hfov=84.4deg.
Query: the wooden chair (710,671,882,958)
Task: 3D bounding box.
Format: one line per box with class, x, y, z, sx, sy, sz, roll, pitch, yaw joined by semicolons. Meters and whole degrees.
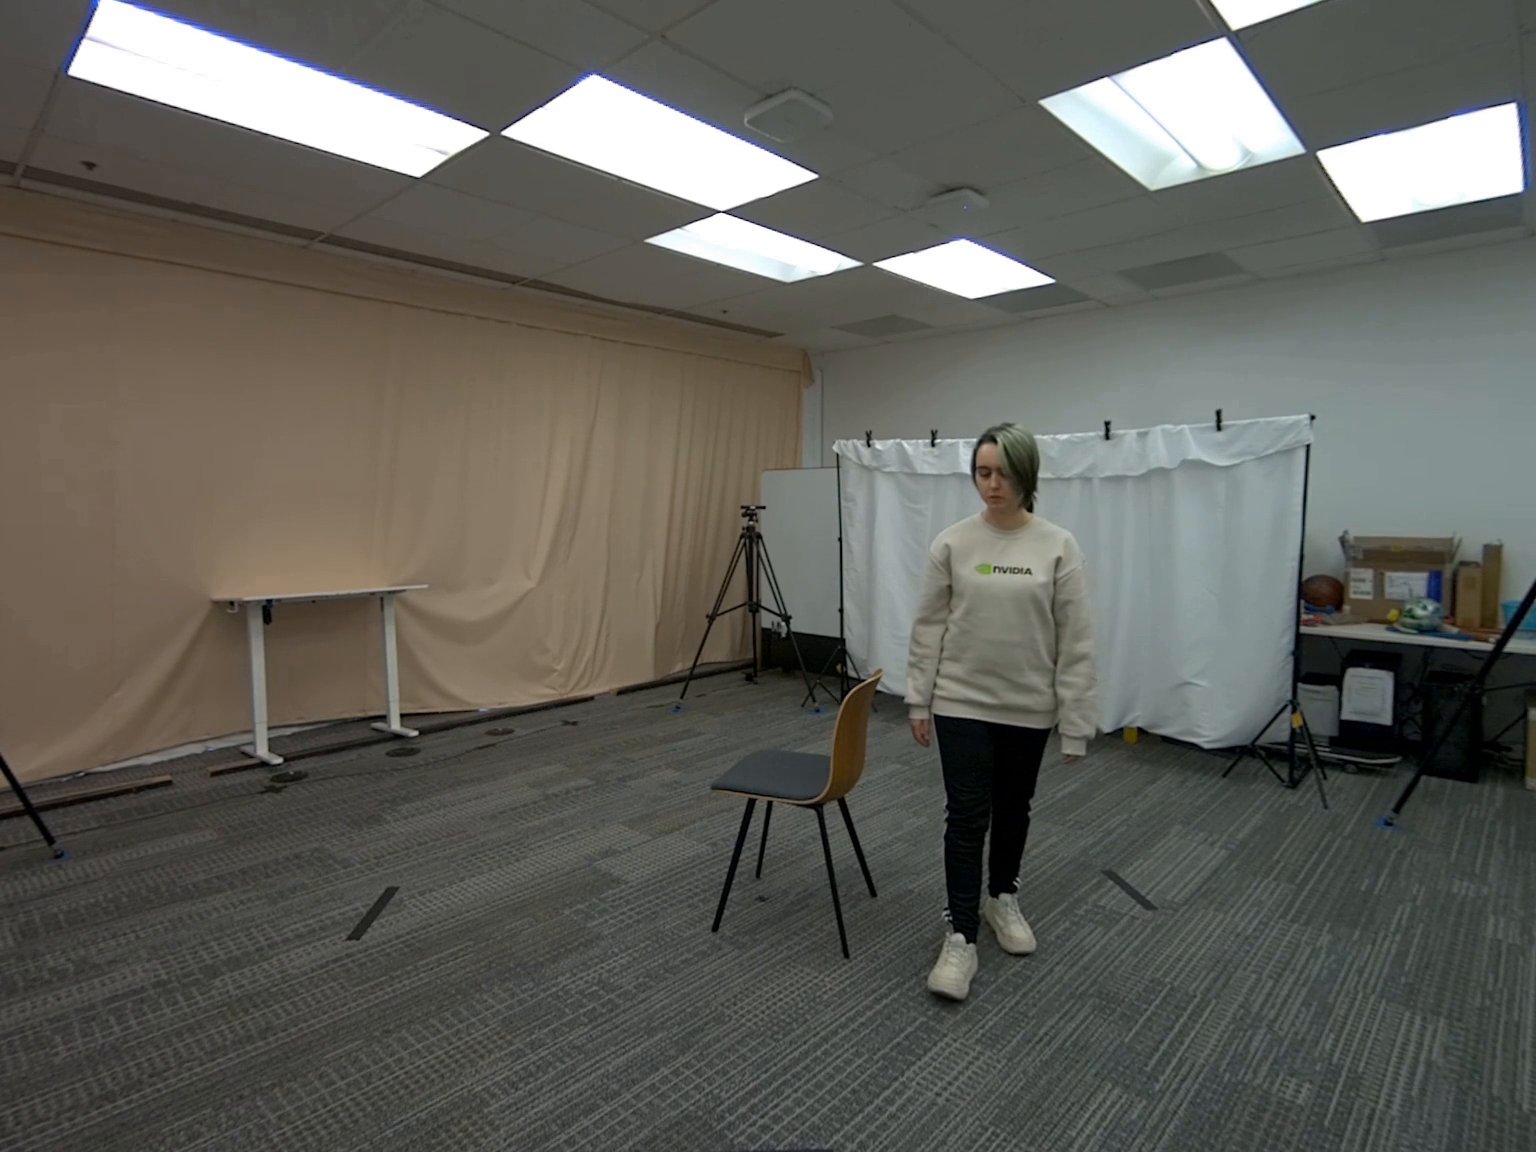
wooden chair;0.094;0.728;2.848;0.535;0.875;0.468;6;5;20
